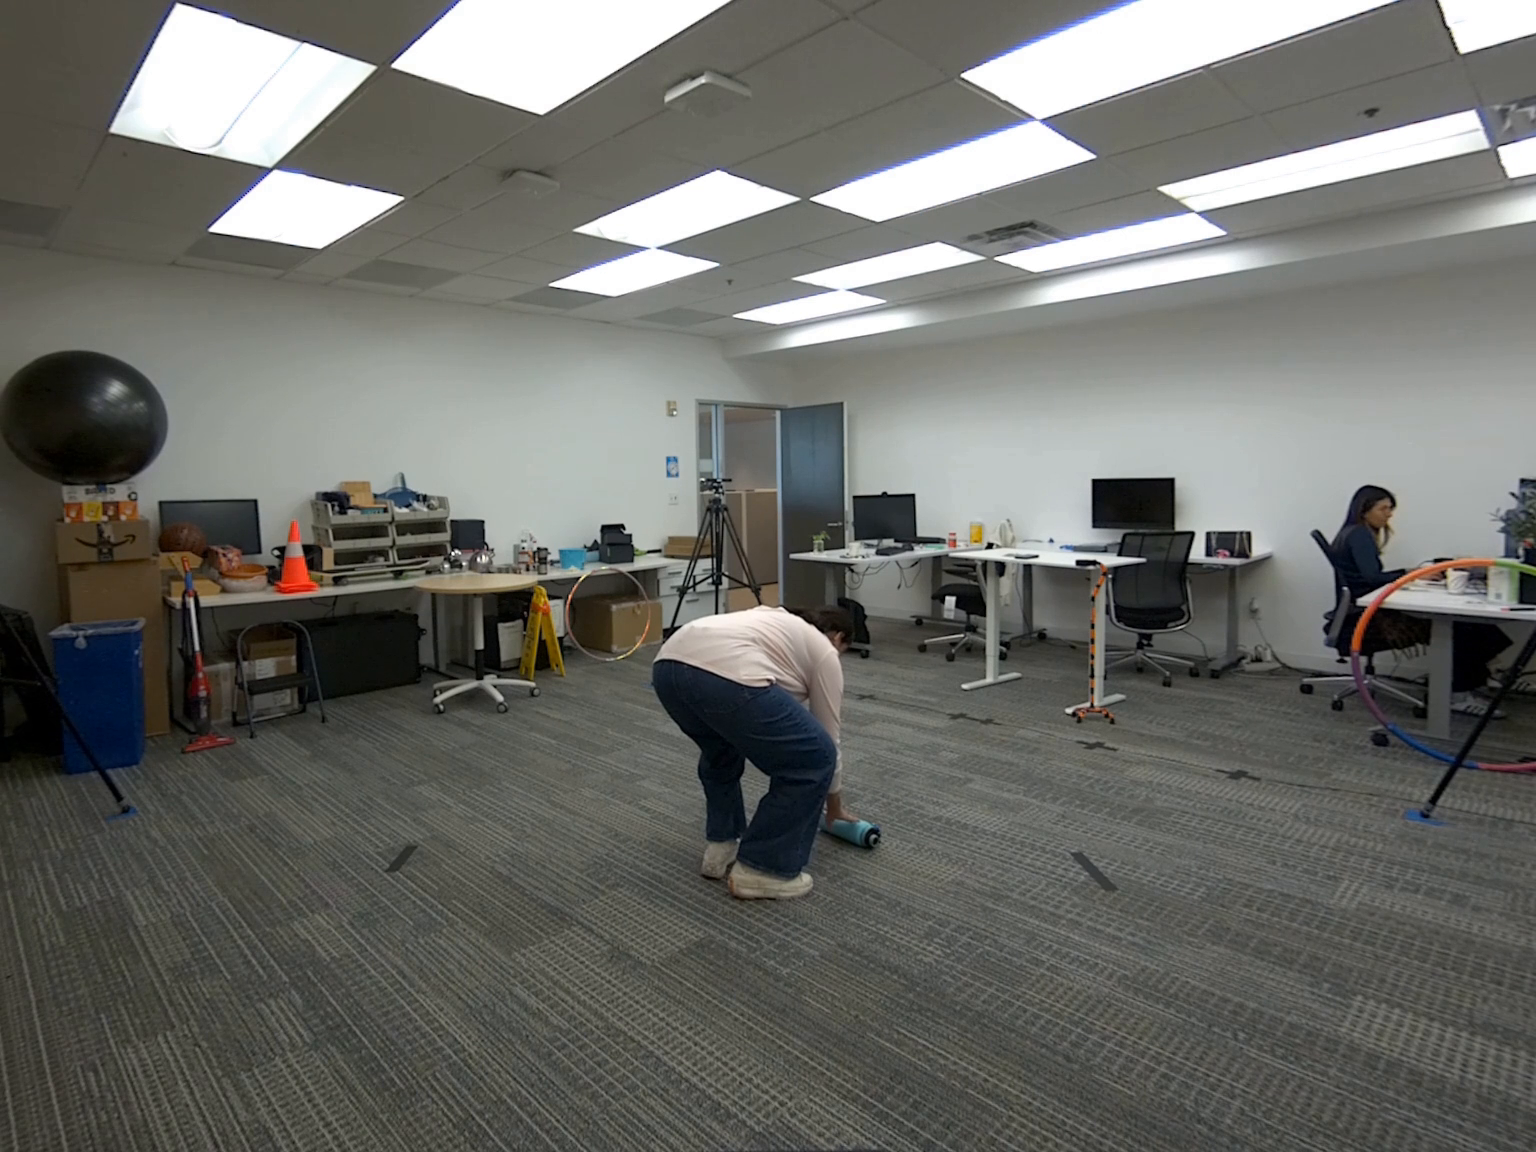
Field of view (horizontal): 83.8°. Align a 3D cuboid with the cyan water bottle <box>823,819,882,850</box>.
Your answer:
[{"bbox_3d":[0.315,0.966,3.294,0.090,0.092,0.292,-5,7,-41],"label":"cyan water bottle"}]
